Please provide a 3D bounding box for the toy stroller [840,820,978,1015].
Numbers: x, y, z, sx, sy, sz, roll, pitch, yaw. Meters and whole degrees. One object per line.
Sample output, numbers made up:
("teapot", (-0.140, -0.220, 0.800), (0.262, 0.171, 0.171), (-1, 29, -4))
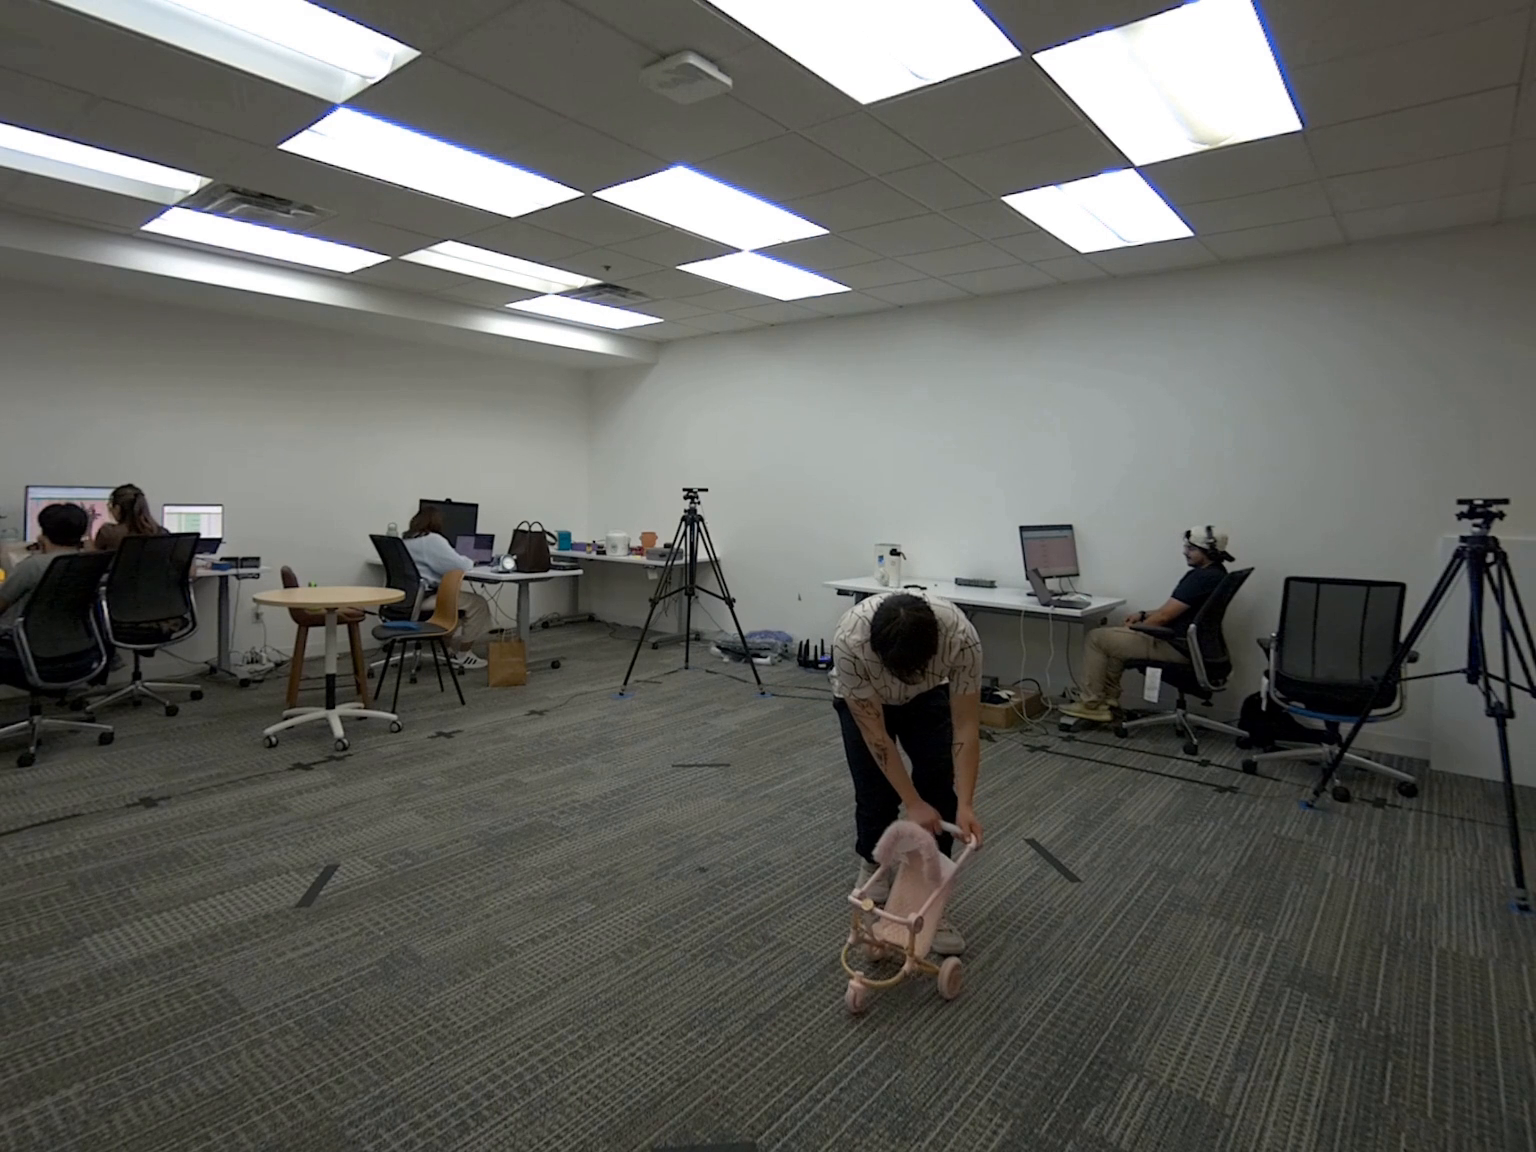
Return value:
("toy stroller", (0.376, 0.932, 2.398), (0.328, 0.538, 0.291), (24, -13, -39))
